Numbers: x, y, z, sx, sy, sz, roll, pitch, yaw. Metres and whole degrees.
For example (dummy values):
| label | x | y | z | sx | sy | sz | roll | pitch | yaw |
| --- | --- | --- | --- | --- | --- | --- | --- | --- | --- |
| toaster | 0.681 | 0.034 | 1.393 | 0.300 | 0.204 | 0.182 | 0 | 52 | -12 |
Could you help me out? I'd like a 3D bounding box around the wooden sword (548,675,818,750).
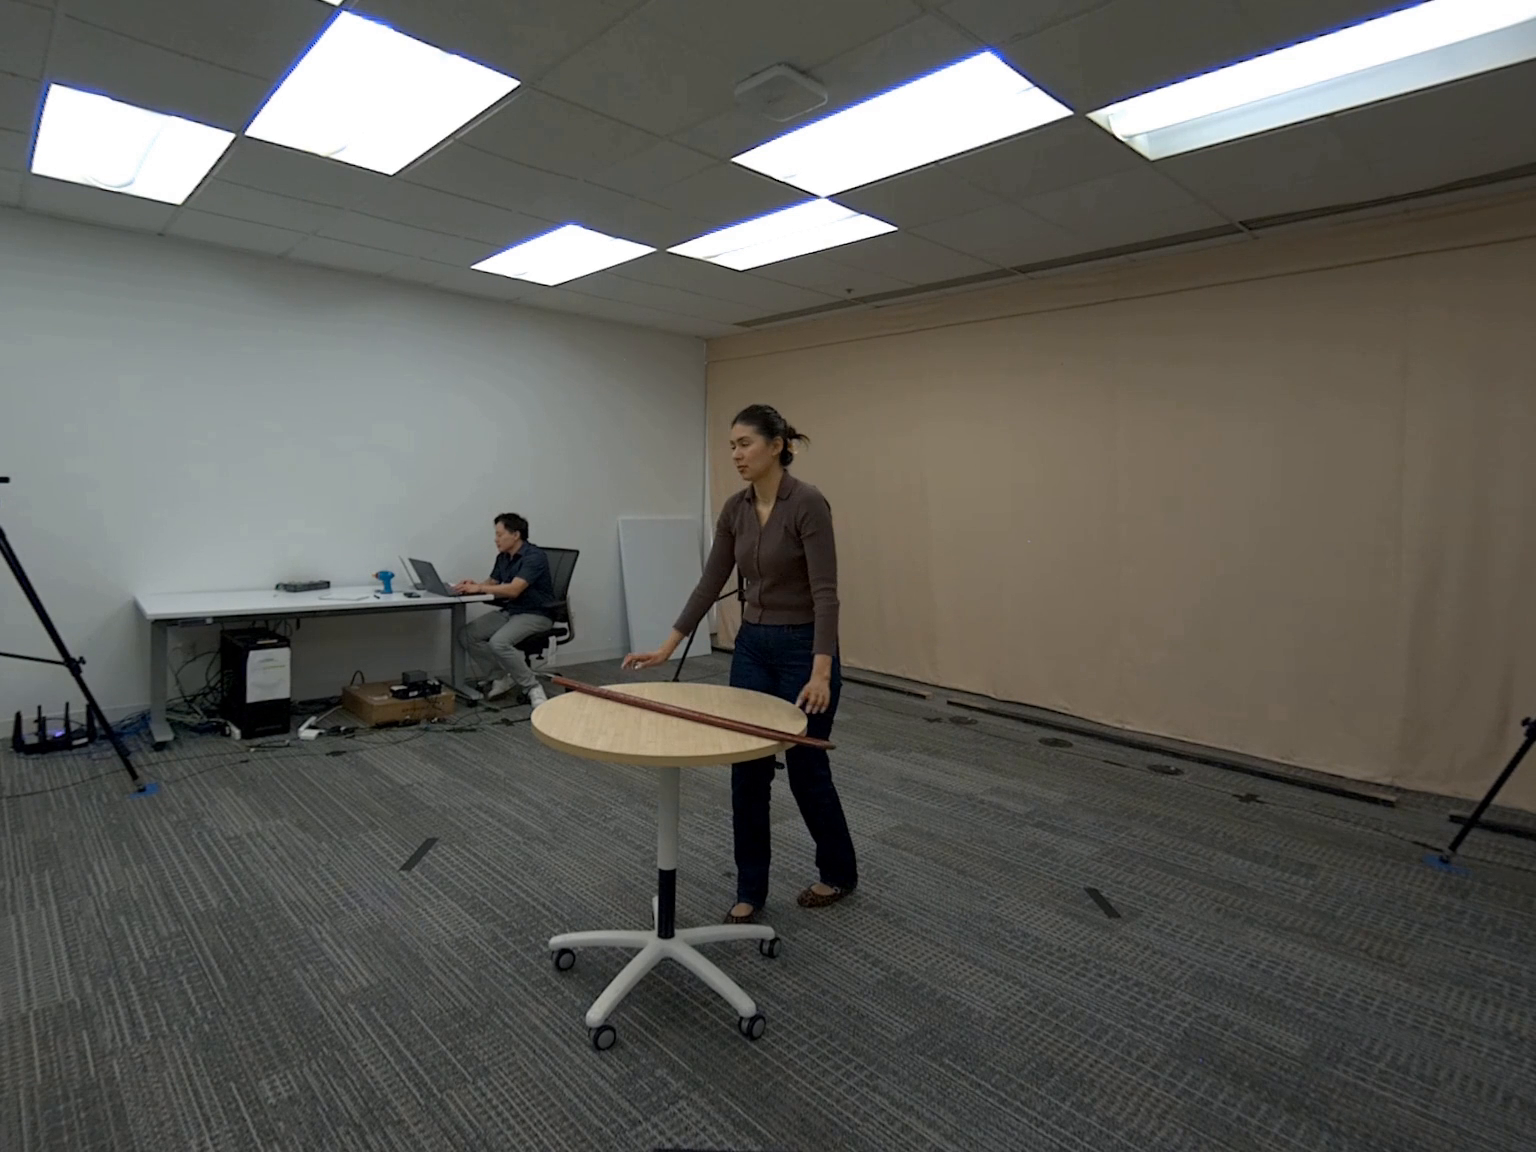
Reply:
| label | x | y | z | sx | sy | sz | roll | pitch | yaw |
| --- | --- | --- | --- | --- | --- | --- | --- | --- | --- |
| wooden sword | -0.320 | 0.378 | 2.366 | 1.050 | 0.050 | 0.024 | 5 | 22 | 38 |
